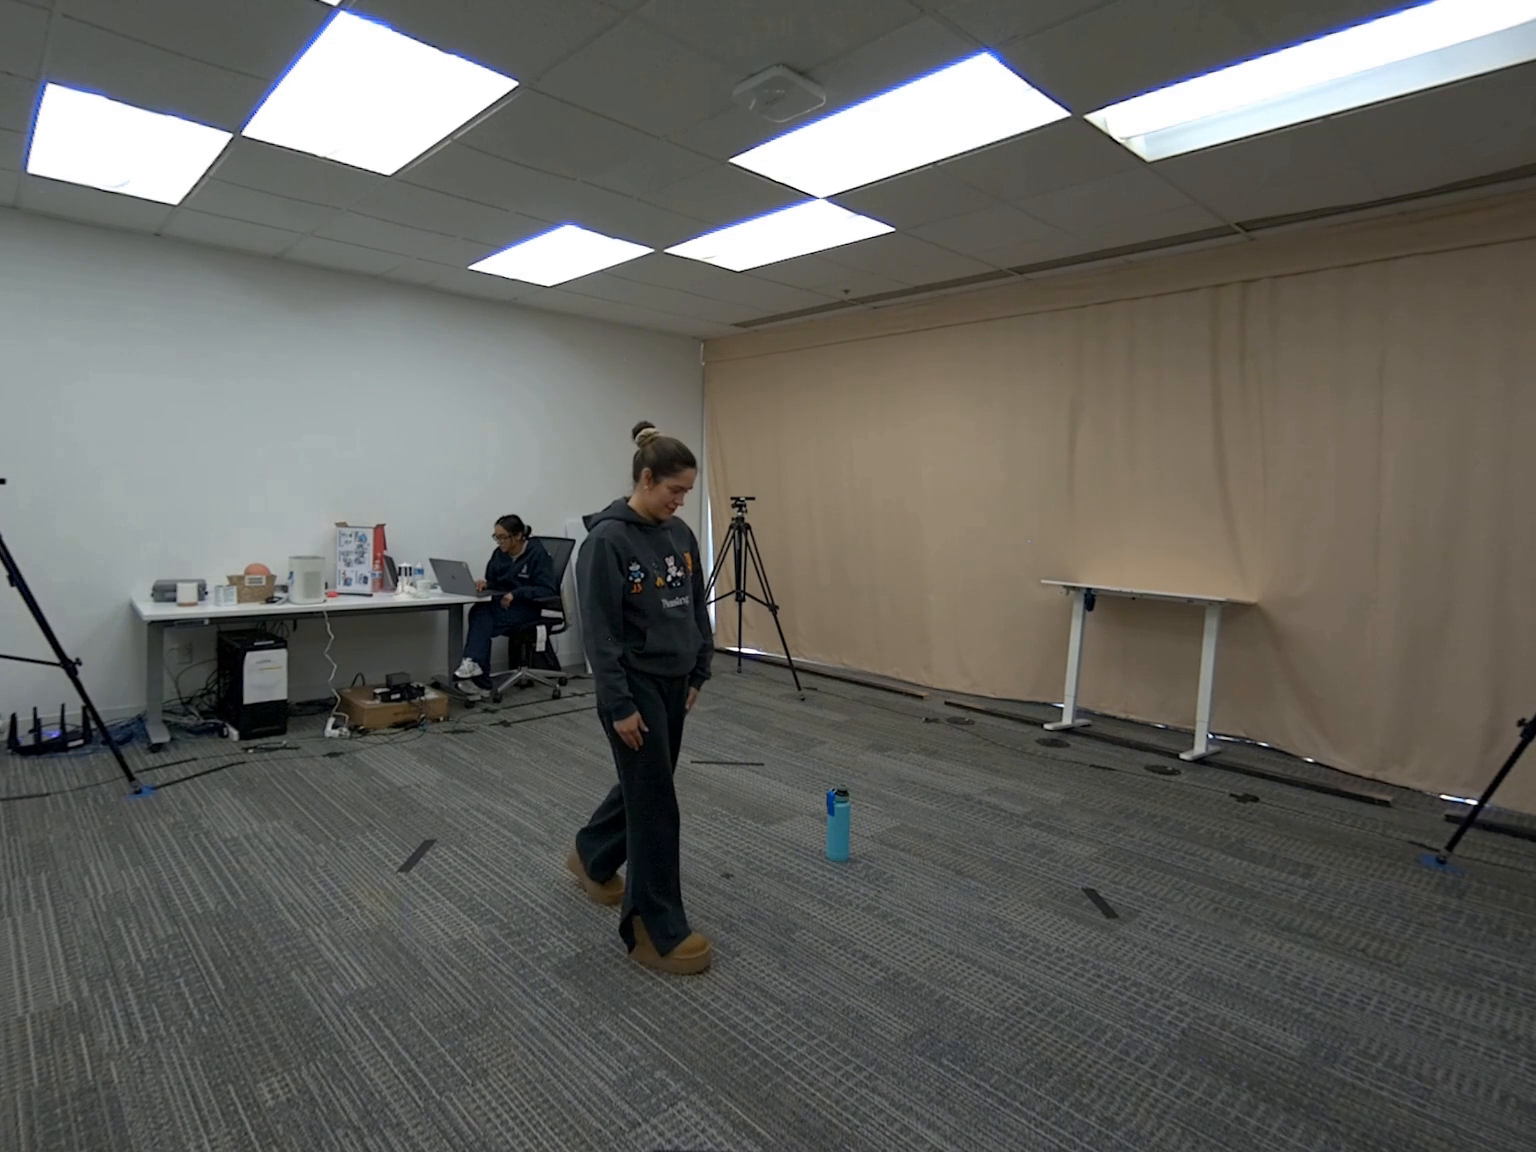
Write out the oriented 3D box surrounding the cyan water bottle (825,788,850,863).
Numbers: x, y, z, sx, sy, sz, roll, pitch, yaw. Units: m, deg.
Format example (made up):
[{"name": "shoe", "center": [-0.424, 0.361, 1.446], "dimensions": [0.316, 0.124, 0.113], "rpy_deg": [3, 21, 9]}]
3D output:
[{"name": "cyan water bottle", "center": [0.266, 0.957, 3.297], "dimensions": [0.092, 0.283, 0.092], "rpy_deg": [0, 3, -1]}]
